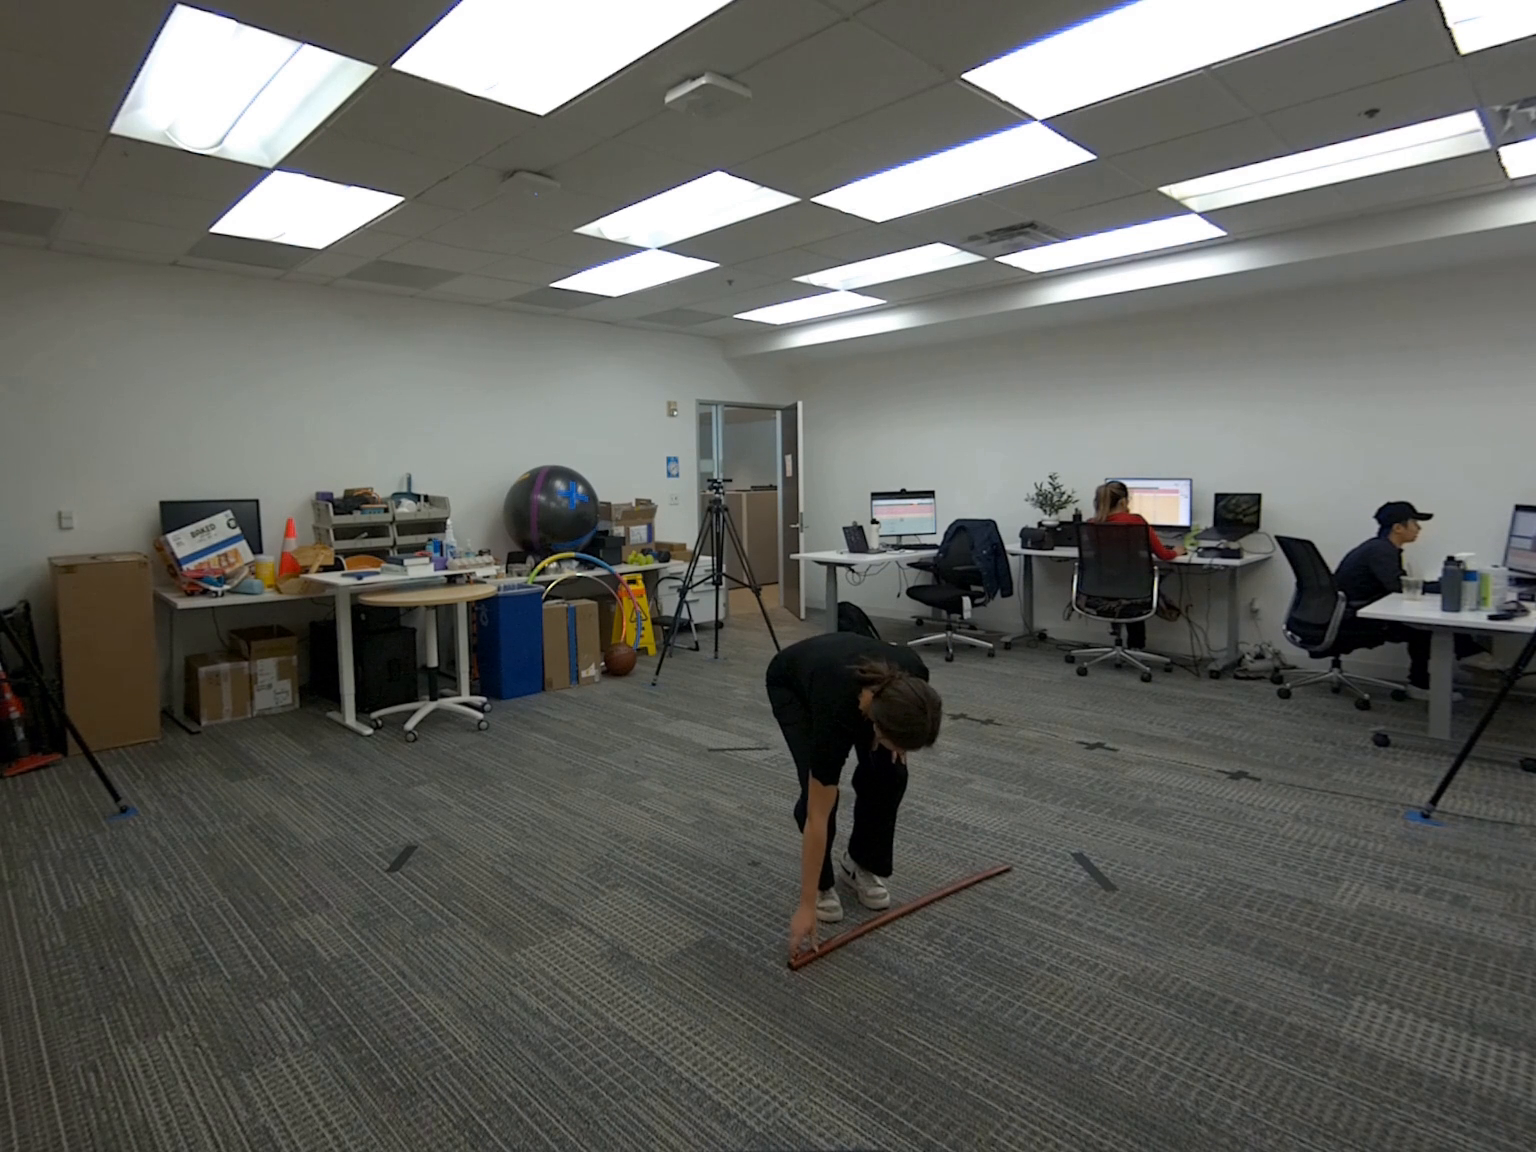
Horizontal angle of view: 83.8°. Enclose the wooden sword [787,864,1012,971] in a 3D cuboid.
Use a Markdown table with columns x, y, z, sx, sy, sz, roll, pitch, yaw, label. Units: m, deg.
| x | y | z | sx | sy | sz | roll | pitch | yaw | label |
| --- | --- | --- | --- | --- | --- | --- | --- | --- | --- |
| 0.455 | 1.056 | 2.742 | 0.999 | 0.024 | 0.052 | -6 | -18 | -37 | wooden sword |
